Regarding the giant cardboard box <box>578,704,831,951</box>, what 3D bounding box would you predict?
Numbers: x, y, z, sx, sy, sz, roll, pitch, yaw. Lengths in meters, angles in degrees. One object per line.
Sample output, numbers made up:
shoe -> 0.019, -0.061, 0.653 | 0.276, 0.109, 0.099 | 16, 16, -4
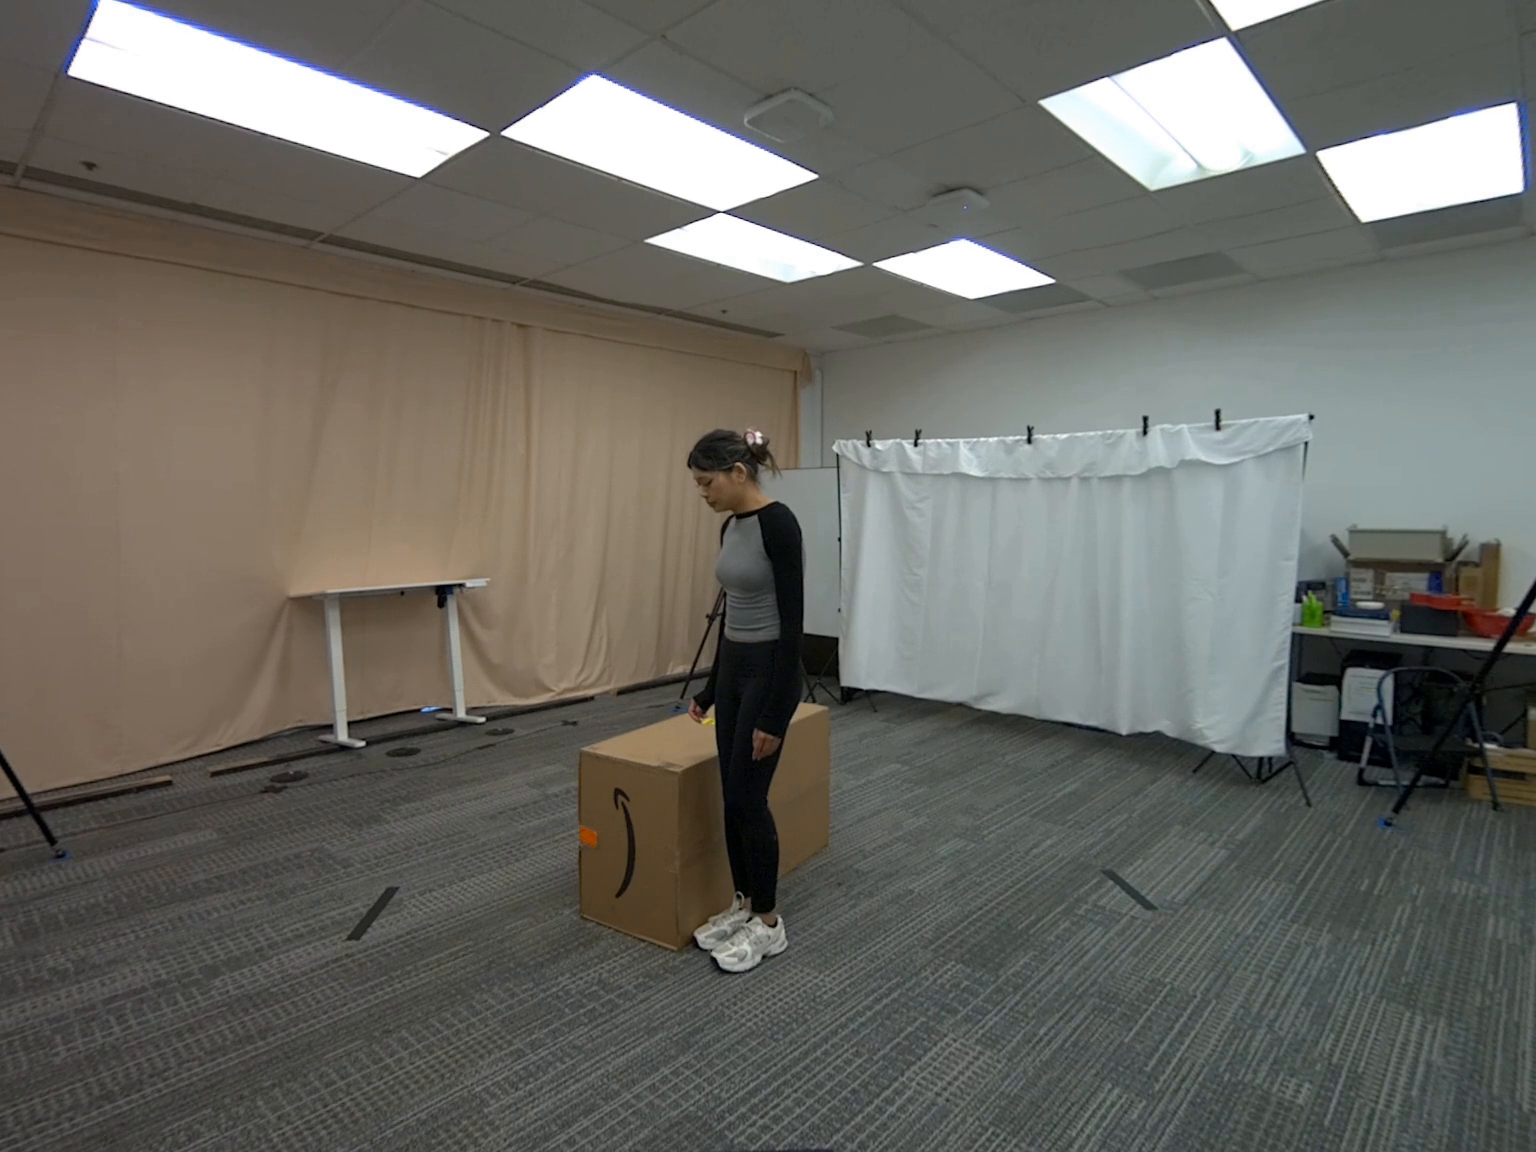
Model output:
giant cardboard box -> -0.196, 0.845, 3.150 | 0.439, 0.576, 0.997 | 3, 5, 33
